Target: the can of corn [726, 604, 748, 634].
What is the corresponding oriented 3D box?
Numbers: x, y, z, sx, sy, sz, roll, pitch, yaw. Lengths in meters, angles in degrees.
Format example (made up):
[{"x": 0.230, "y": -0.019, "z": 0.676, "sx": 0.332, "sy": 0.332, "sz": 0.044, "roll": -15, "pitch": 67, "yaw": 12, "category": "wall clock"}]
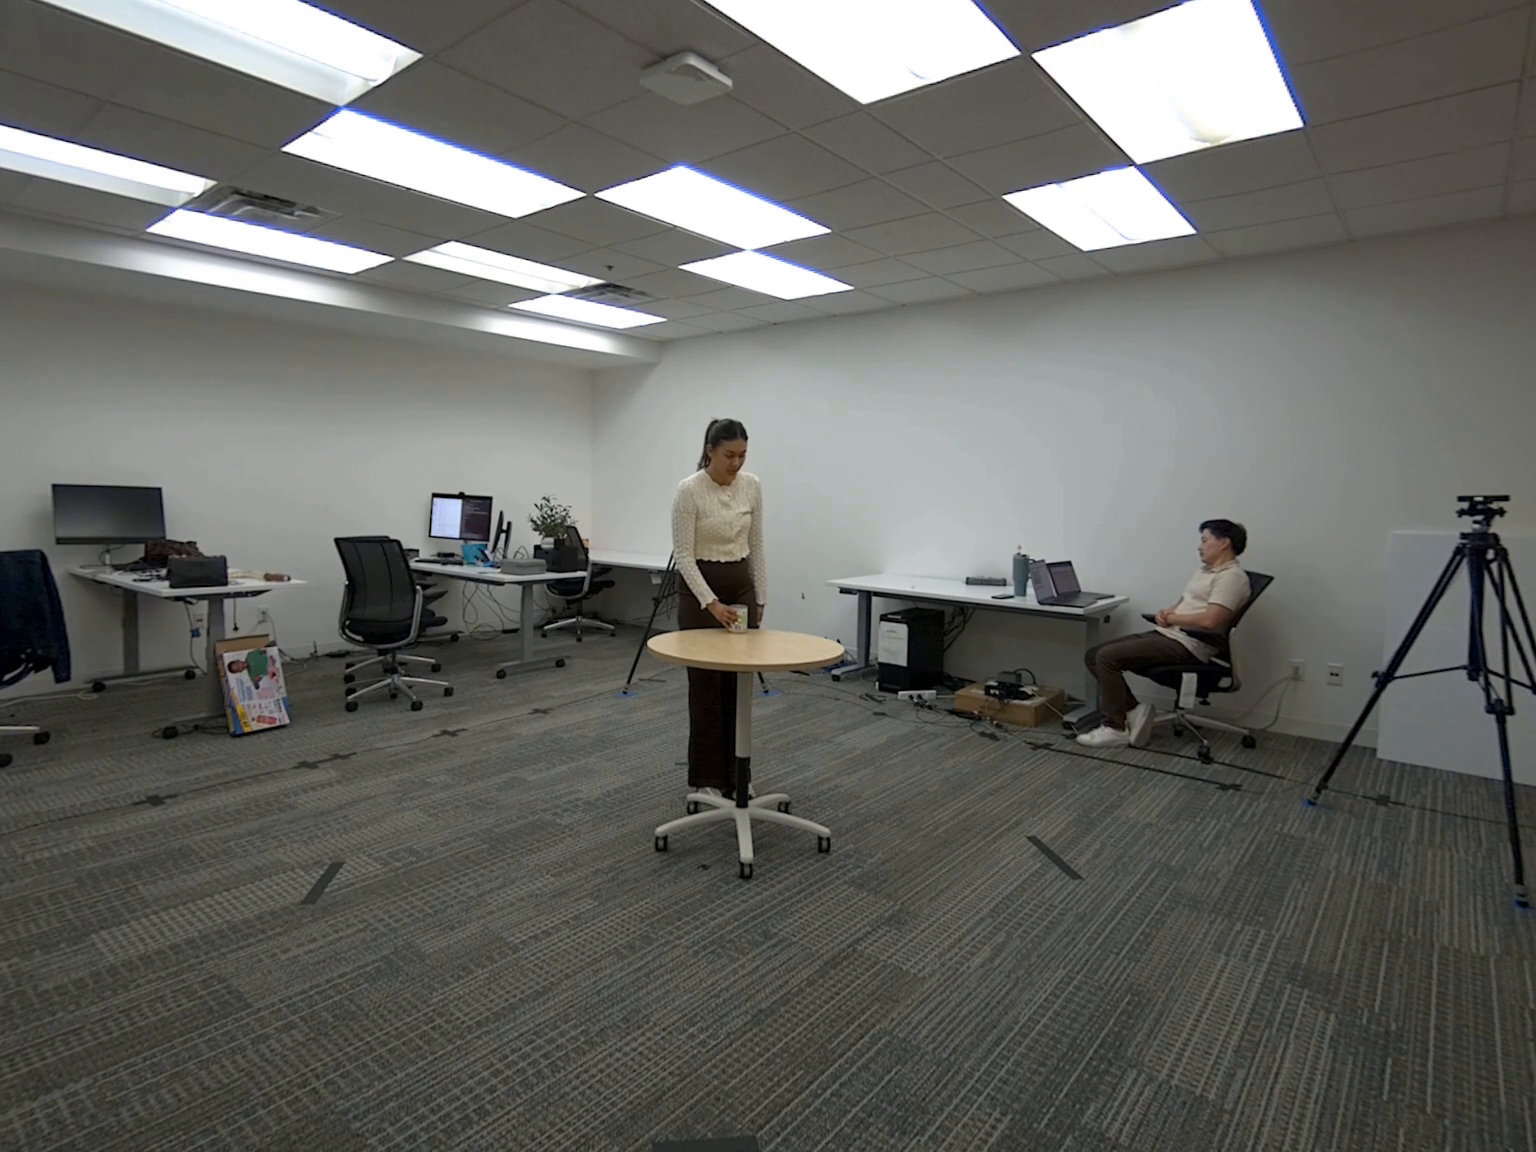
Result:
[{"x": -0.142, "y": 0.177, "z": 3.588, "sx": 0.074, "sy": 0.110, "sz": 0.074, "roll": 1, "pitch": 4, "yaw": -2, "category": "can of corn"}]
